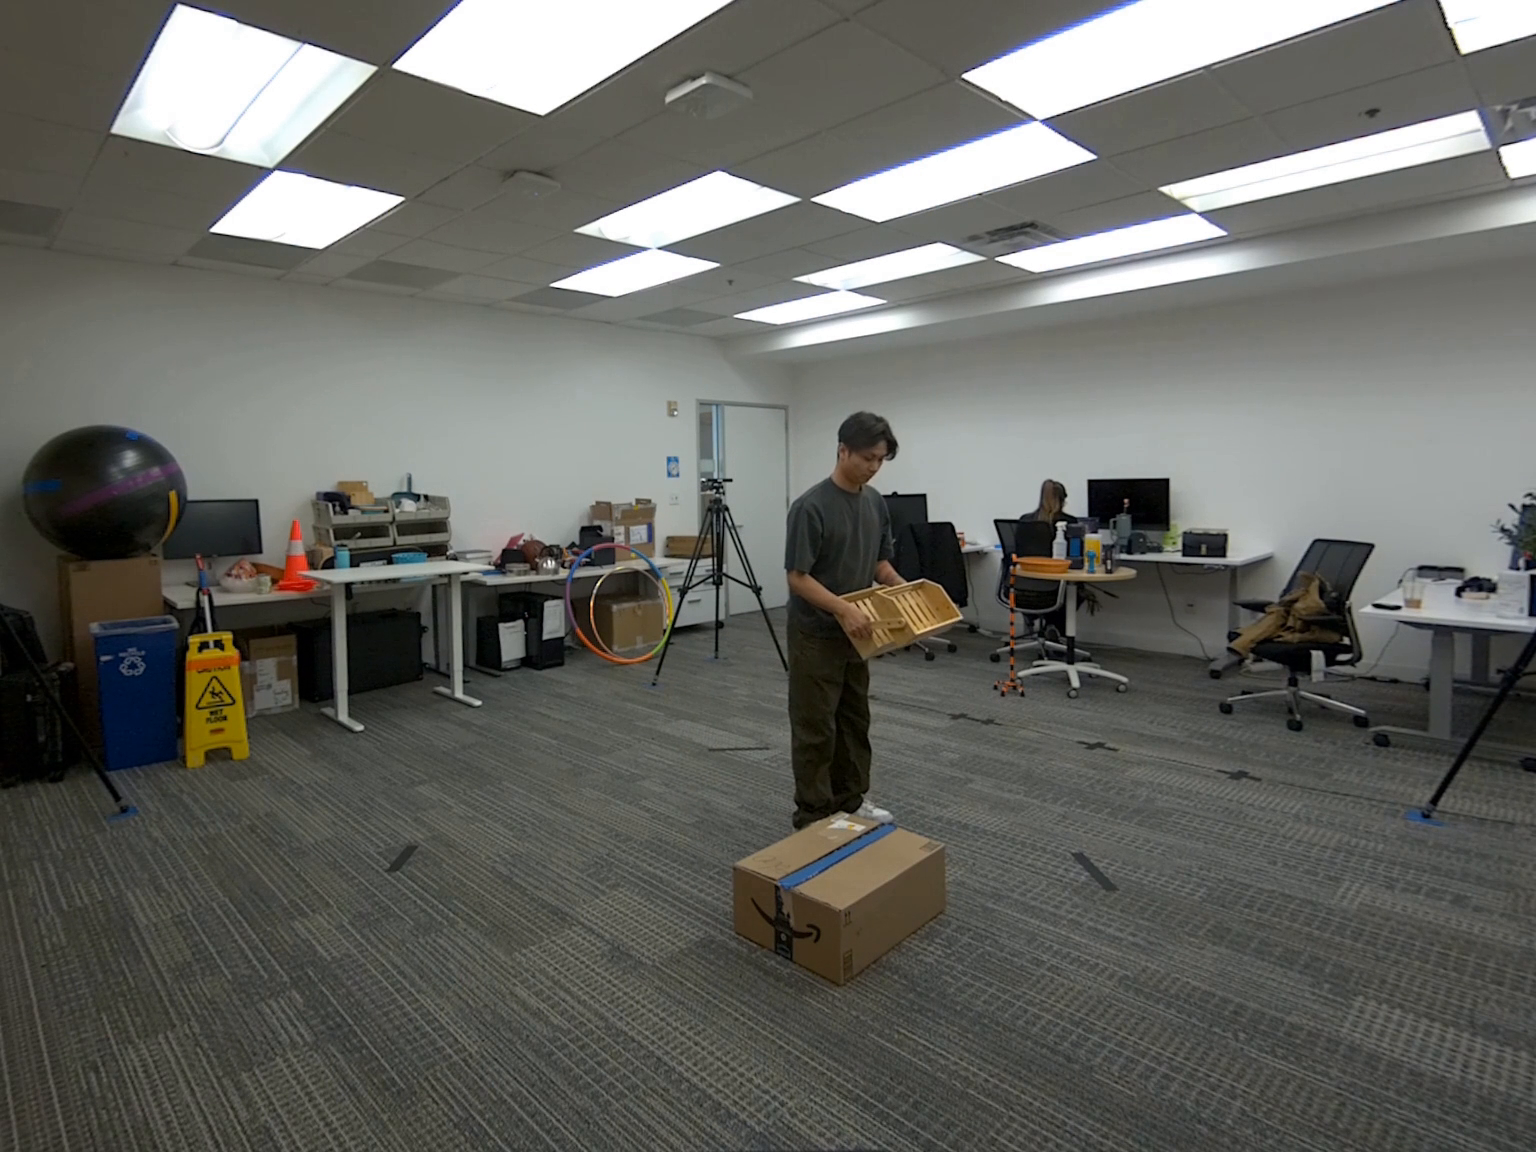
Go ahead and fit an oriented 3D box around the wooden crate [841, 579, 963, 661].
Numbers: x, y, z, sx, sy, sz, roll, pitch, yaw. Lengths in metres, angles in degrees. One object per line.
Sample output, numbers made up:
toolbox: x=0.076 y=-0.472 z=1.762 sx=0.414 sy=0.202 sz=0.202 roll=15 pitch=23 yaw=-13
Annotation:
wooden crate: x=0.472 y=0.127 z=3.162 sx=0.317 sy=0.310 sz=0.272 roll=-11 pitch=-29 yaw=-43
